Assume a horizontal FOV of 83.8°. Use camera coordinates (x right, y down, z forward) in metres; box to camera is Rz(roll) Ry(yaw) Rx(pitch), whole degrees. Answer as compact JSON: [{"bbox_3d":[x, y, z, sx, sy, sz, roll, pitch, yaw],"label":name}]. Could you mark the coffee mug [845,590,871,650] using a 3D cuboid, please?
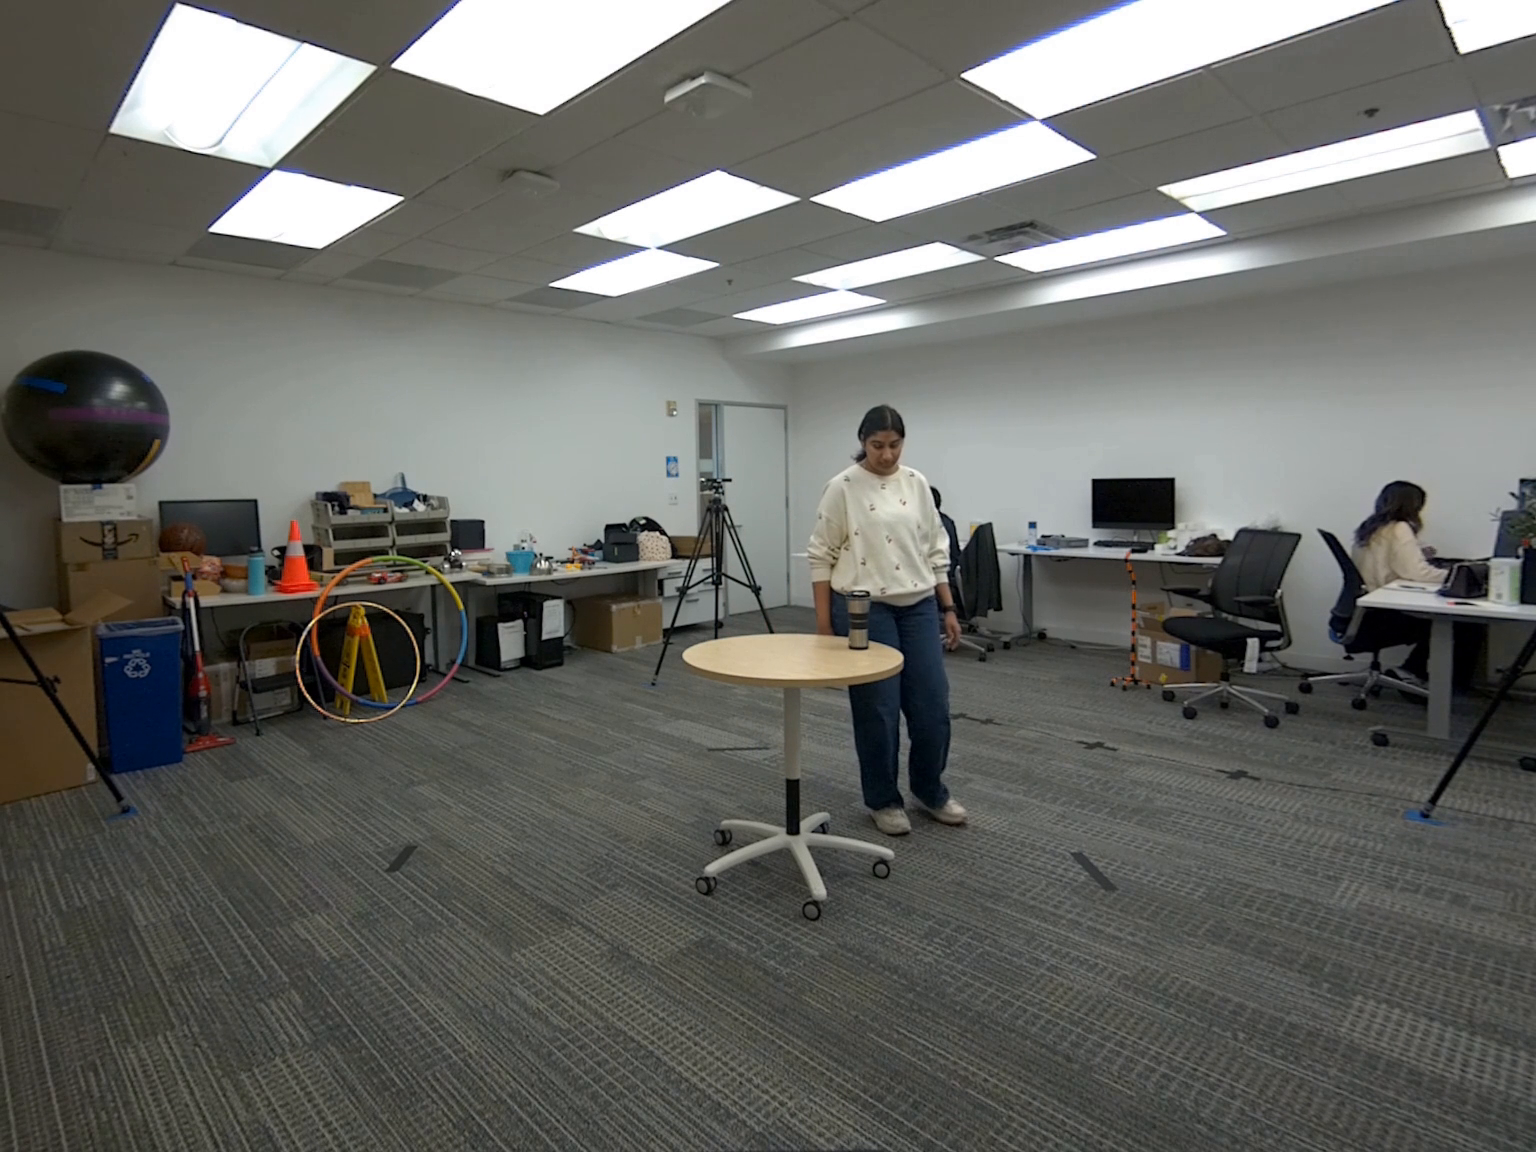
[{"bbox_3d":[0.335,0.160,3.080,0.119,0.203,0.090,-8,3,-42],"label":"coffee mug"}]
